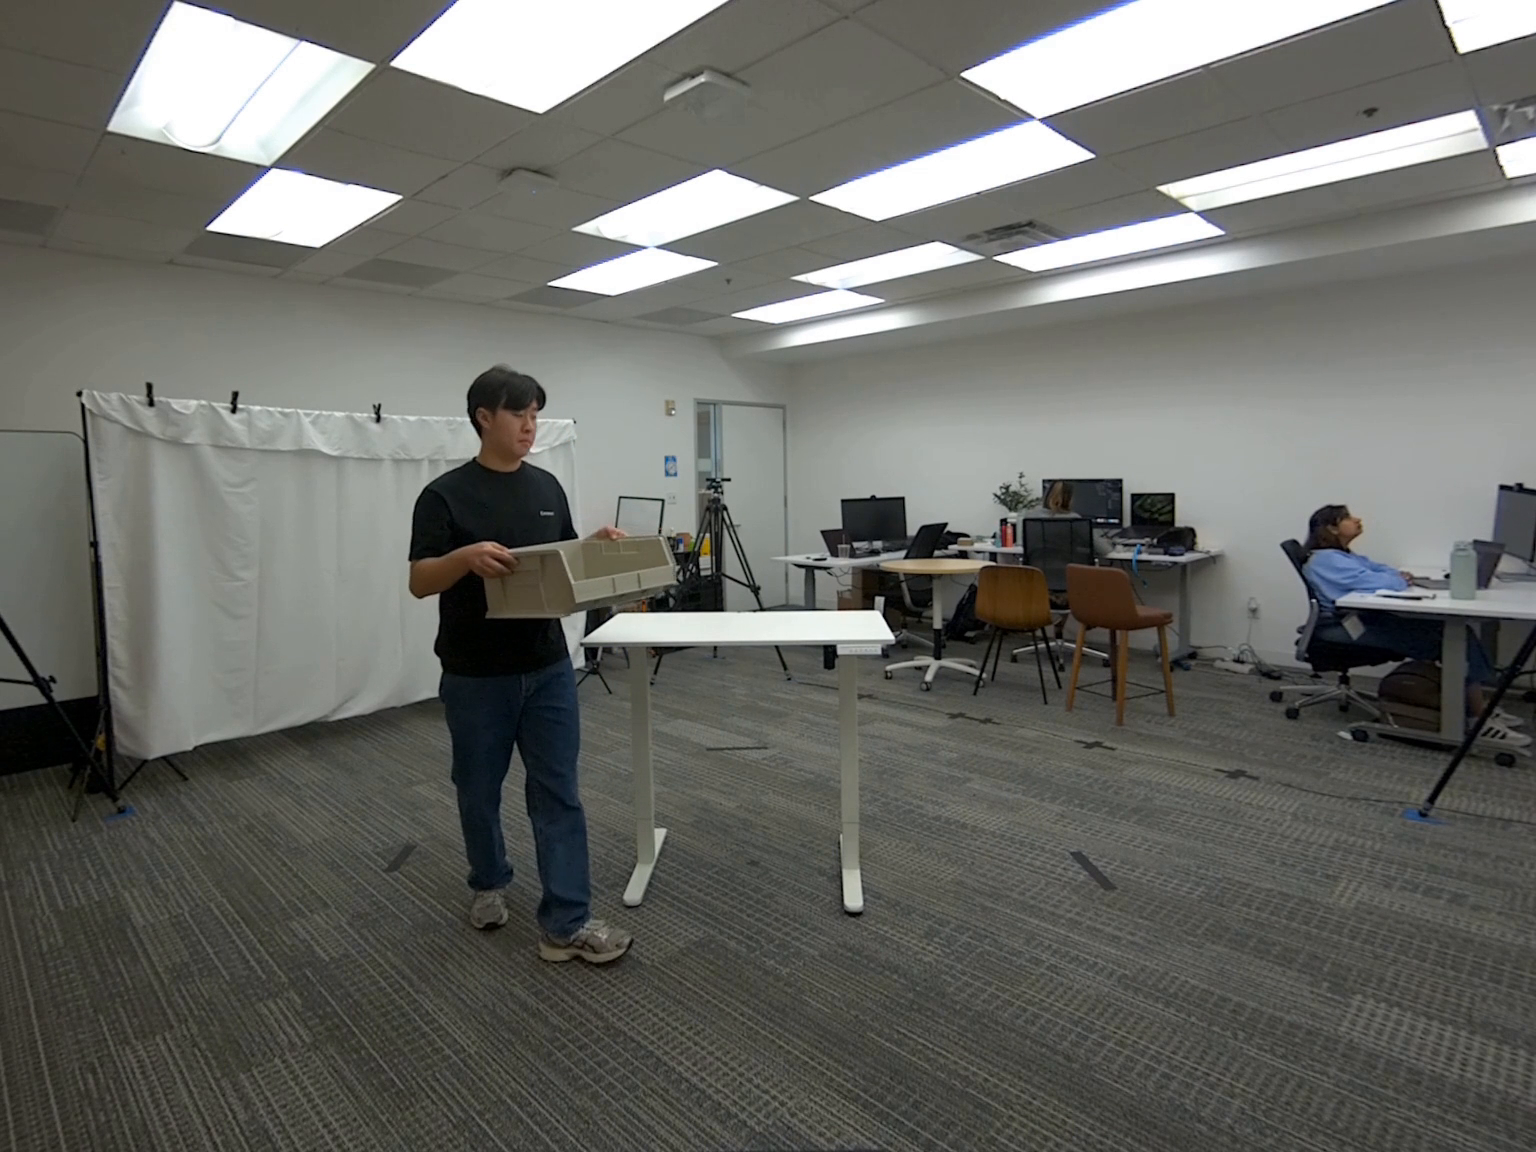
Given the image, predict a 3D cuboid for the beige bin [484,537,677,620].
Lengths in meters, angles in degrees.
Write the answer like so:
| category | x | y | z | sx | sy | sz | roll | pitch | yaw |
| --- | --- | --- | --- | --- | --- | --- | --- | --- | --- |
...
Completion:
| category | x | y | z | sx | sy | sz | roll | pitch | yaw |
| --- | --- | --- | --- | --- | --- | --- | --- | --- | --- |
| beige bin | -0.533 | -0.001 | 2.429 | 0.387 | 0.188 | 0.413 | -4 | 6 | 35 |
